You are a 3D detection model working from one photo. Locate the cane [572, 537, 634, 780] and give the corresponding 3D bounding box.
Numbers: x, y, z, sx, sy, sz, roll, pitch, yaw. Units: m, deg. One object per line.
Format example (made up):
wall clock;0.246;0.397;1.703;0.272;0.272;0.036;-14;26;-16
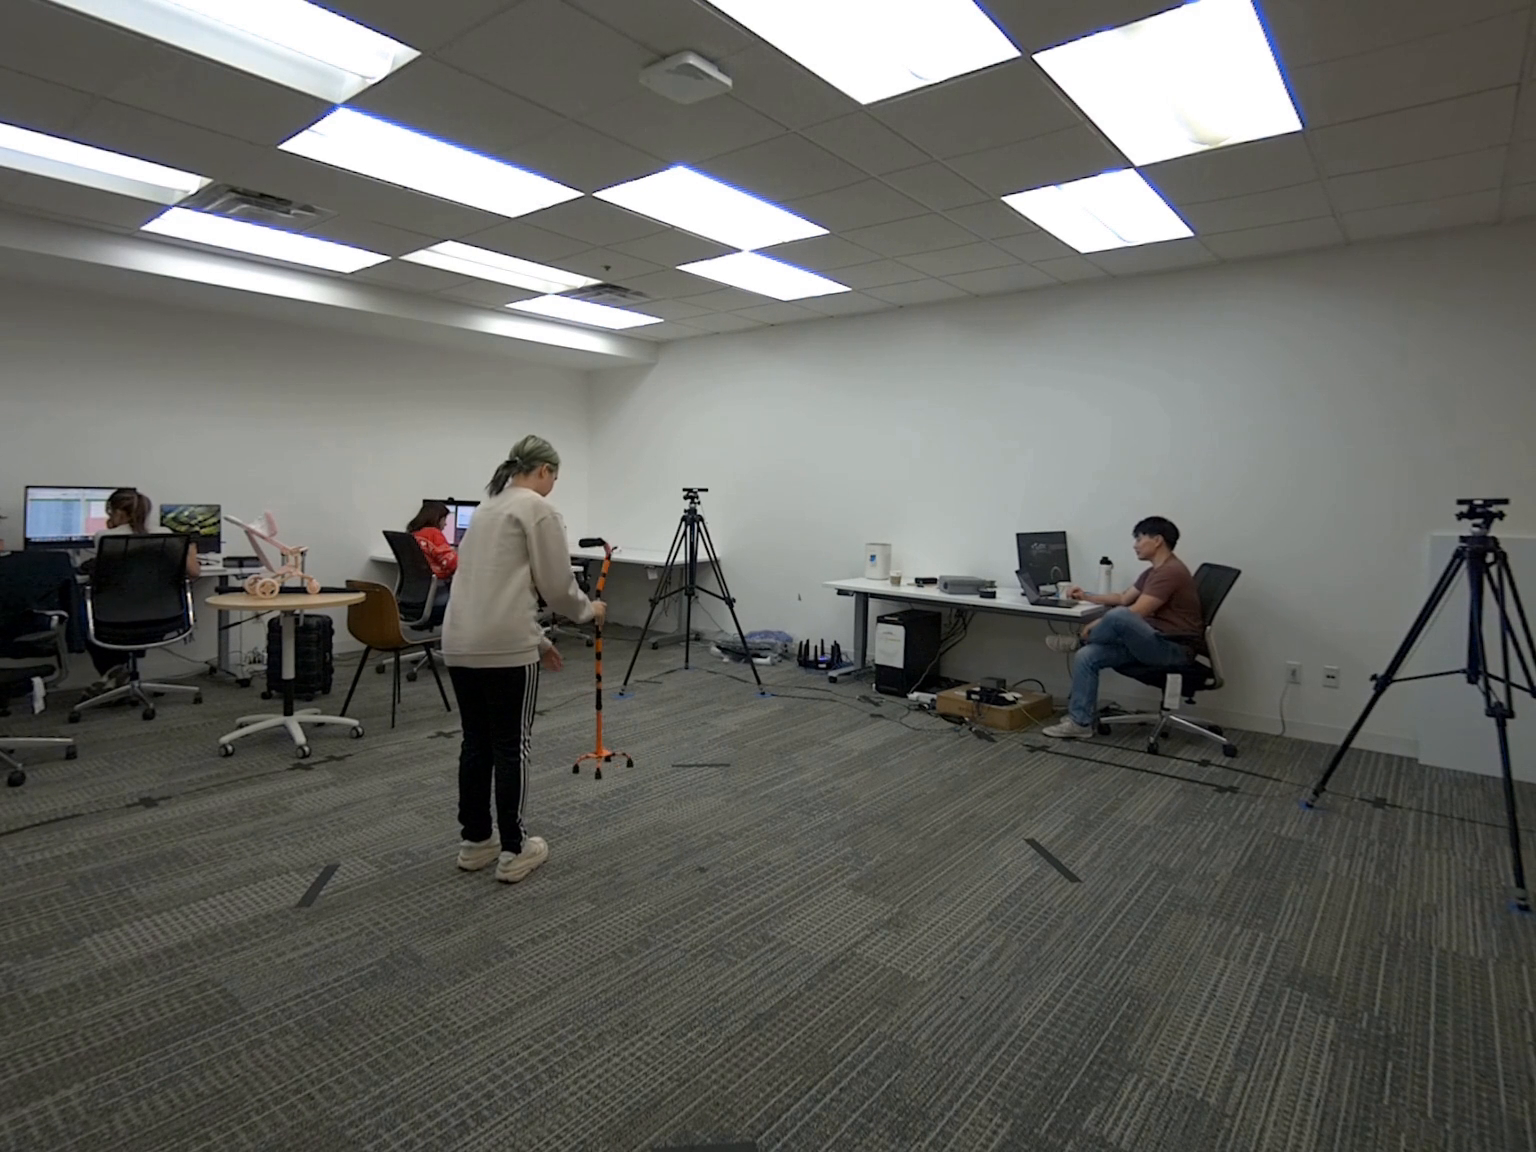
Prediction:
cane;-0.665;0.314;3.326;0.156;0.905;0.201;2;3;34
